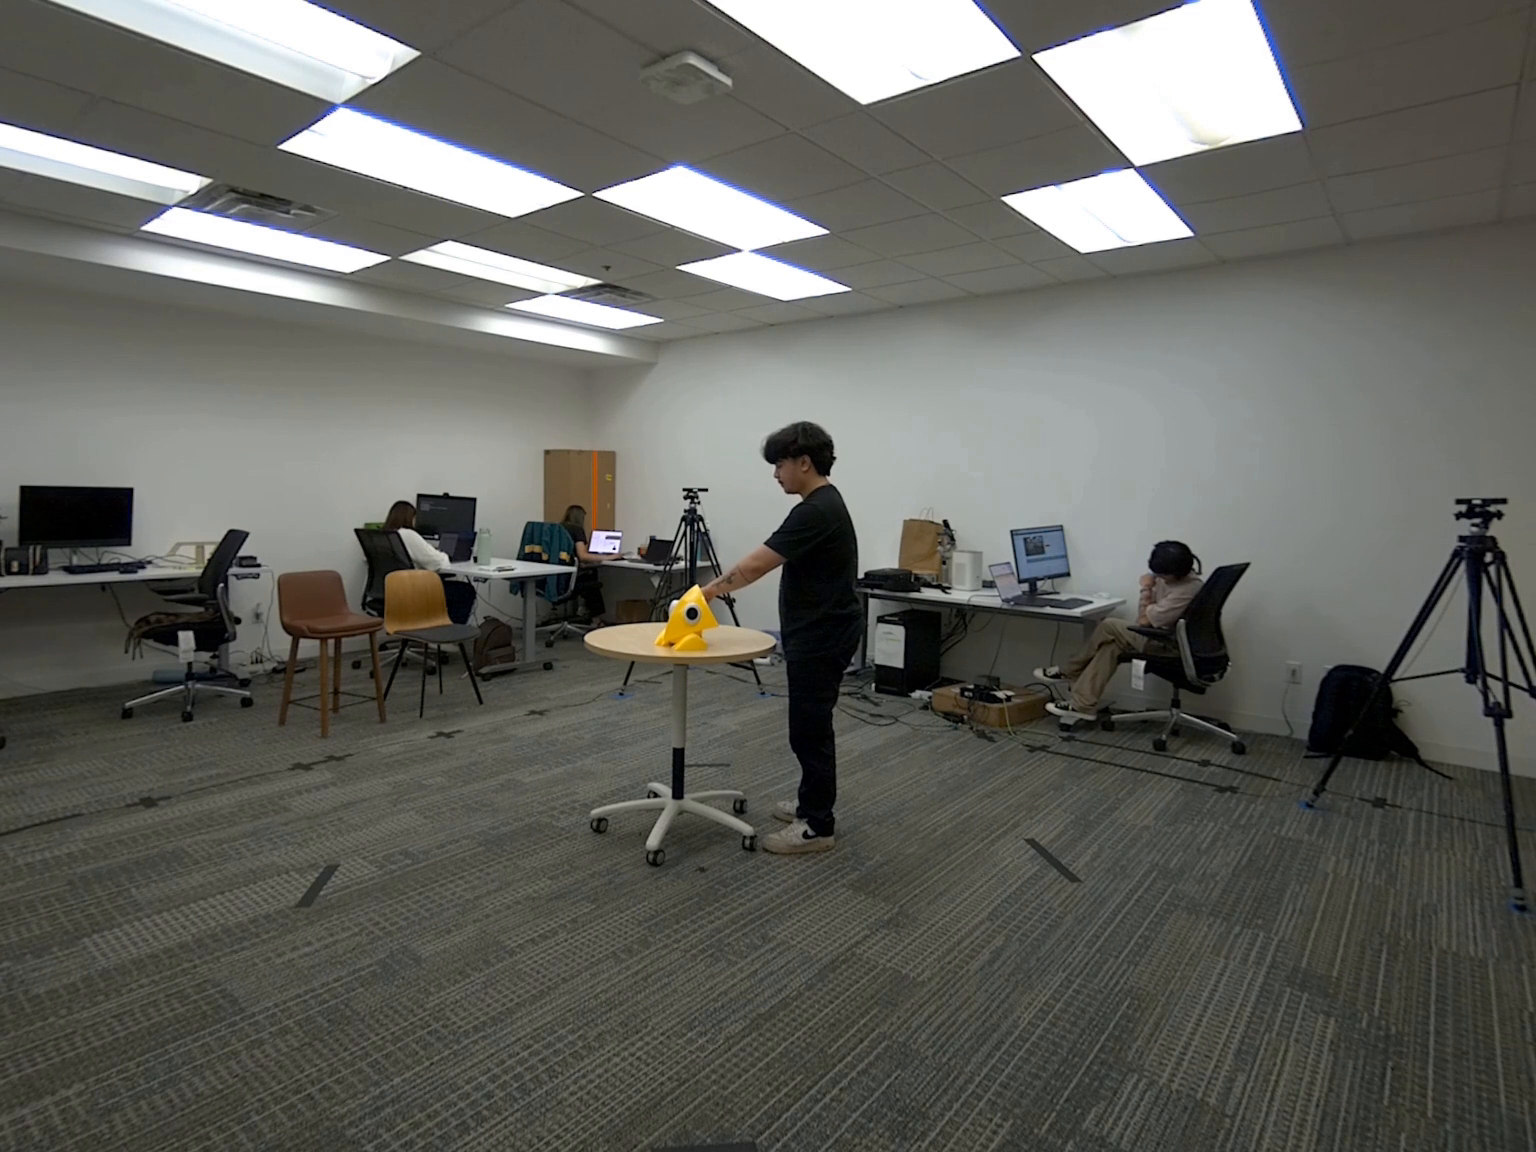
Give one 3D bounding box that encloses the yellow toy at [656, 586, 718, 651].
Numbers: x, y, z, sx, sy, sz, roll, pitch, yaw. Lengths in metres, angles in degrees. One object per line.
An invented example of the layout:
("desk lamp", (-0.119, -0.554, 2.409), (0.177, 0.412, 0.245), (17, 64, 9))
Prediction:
("yellow toy", (-0.329, 0.149, 3.251), (0.187, 0.229, 0.212), (-4, 8, -41))
